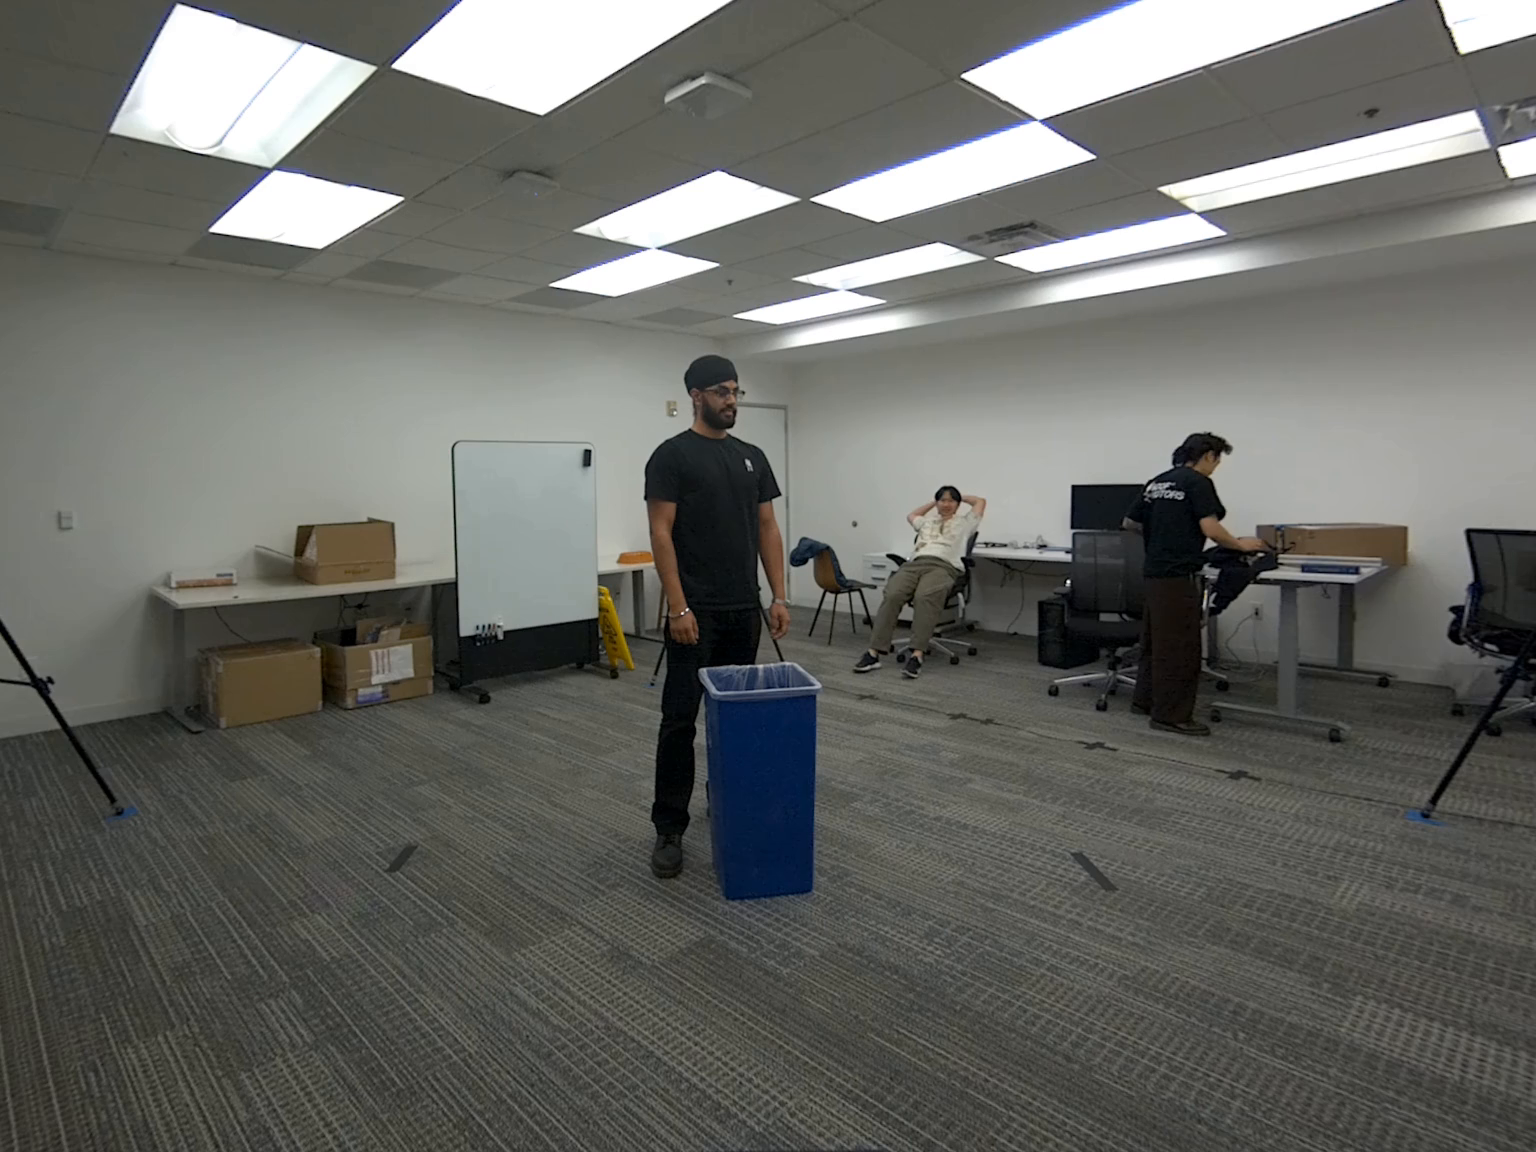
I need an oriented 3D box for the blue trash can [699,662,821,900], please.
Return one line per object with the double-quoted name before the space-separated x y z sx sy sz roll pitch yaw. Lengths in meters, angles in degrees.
"blue trash can" -0.035 0.698 2.982 0.374 0.711 0.379 -2 5 -11
